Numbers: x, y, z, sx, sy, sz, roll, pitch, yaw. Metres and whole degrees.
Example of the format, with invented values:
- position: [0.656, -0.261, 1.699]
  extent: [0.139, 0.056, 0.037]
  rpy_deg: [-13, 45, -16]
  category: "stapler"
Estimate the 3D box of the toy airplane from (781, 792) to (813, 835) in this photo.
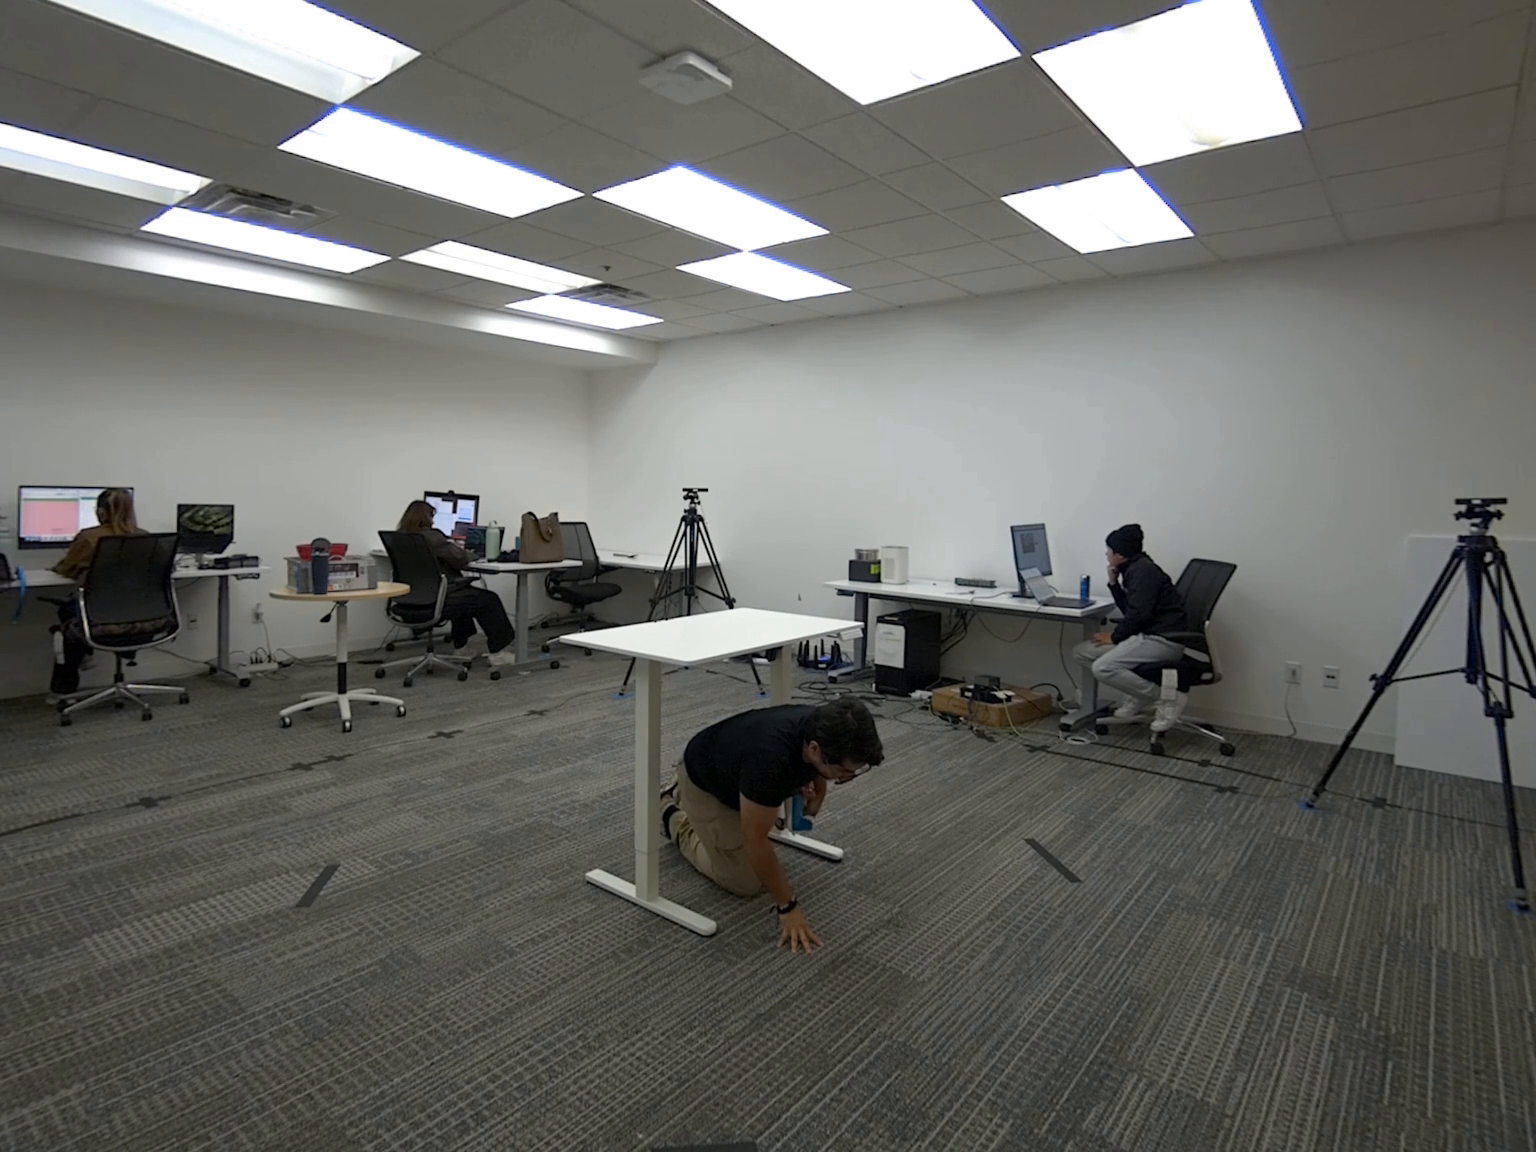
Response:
- position: [0.076, 0.780, 3.033]
  extent: [0.157, 0.261, 0.248]
  rpy_deg: [-13, -5, 4]
  category: "toy airplane"
